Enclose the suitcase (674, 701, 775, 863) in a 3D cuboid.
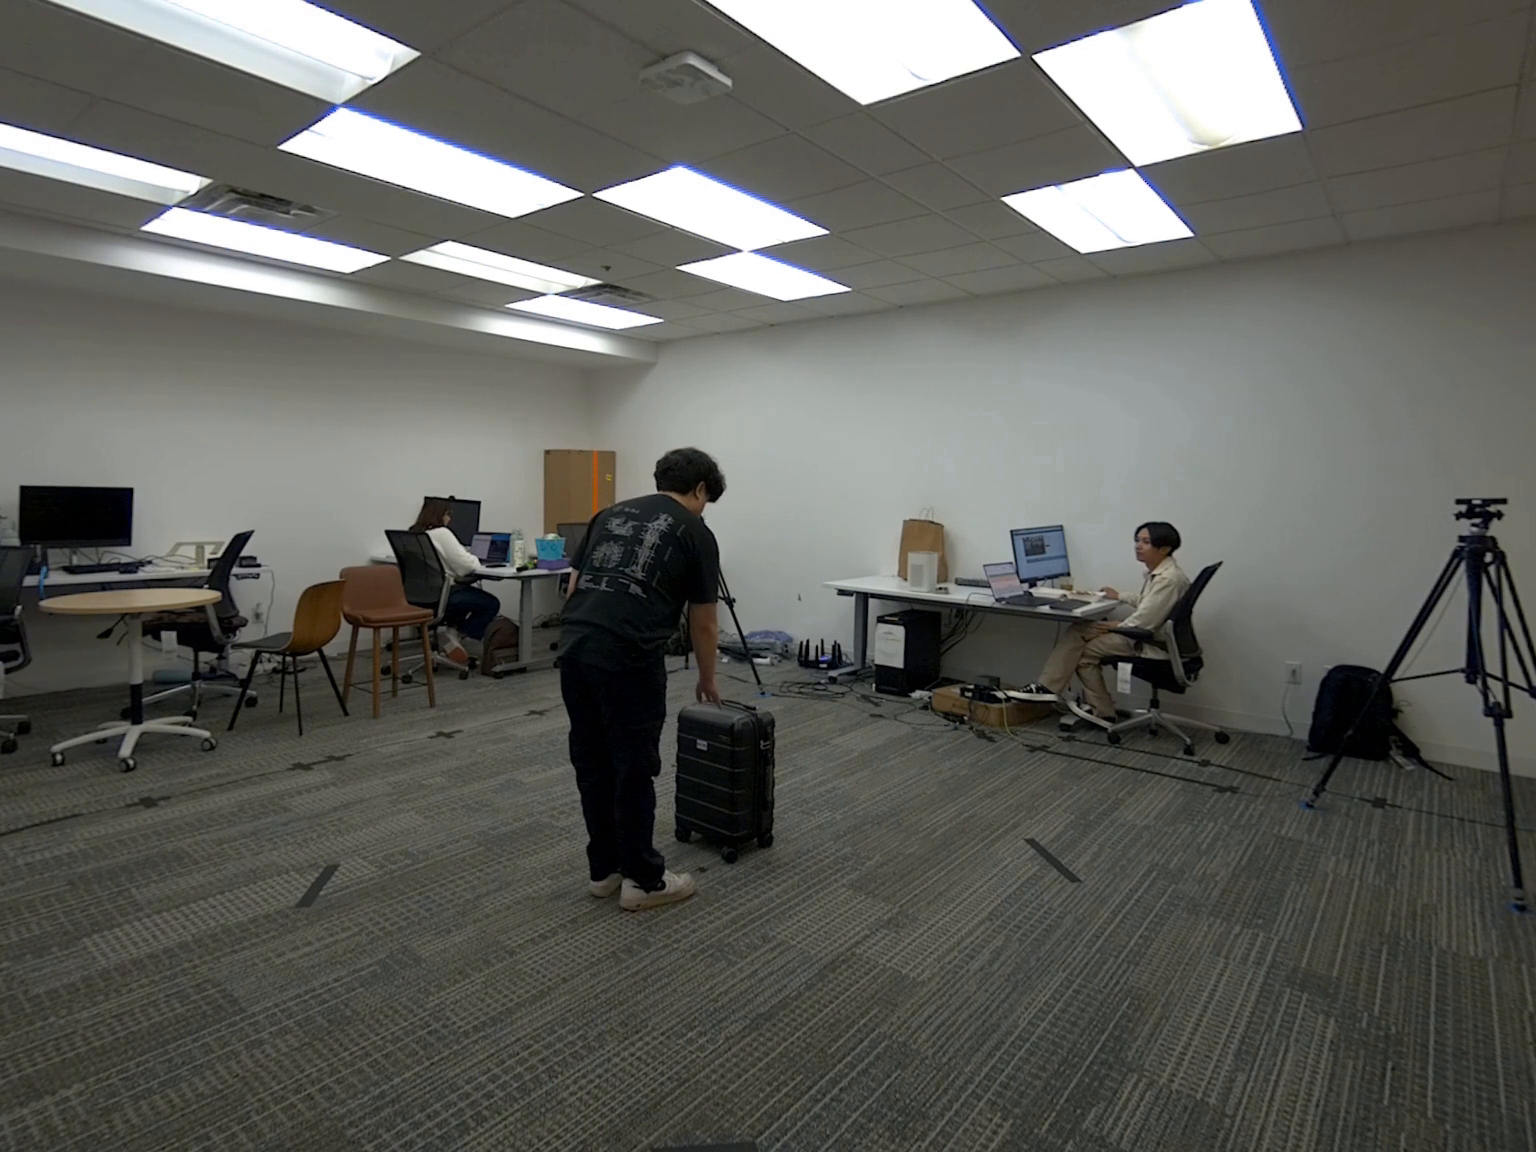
[{"bbox_3d":[-0.178,0.770,3.345,0.388,0.548,0.241,4,3,40],"label":"suitcase"}]
